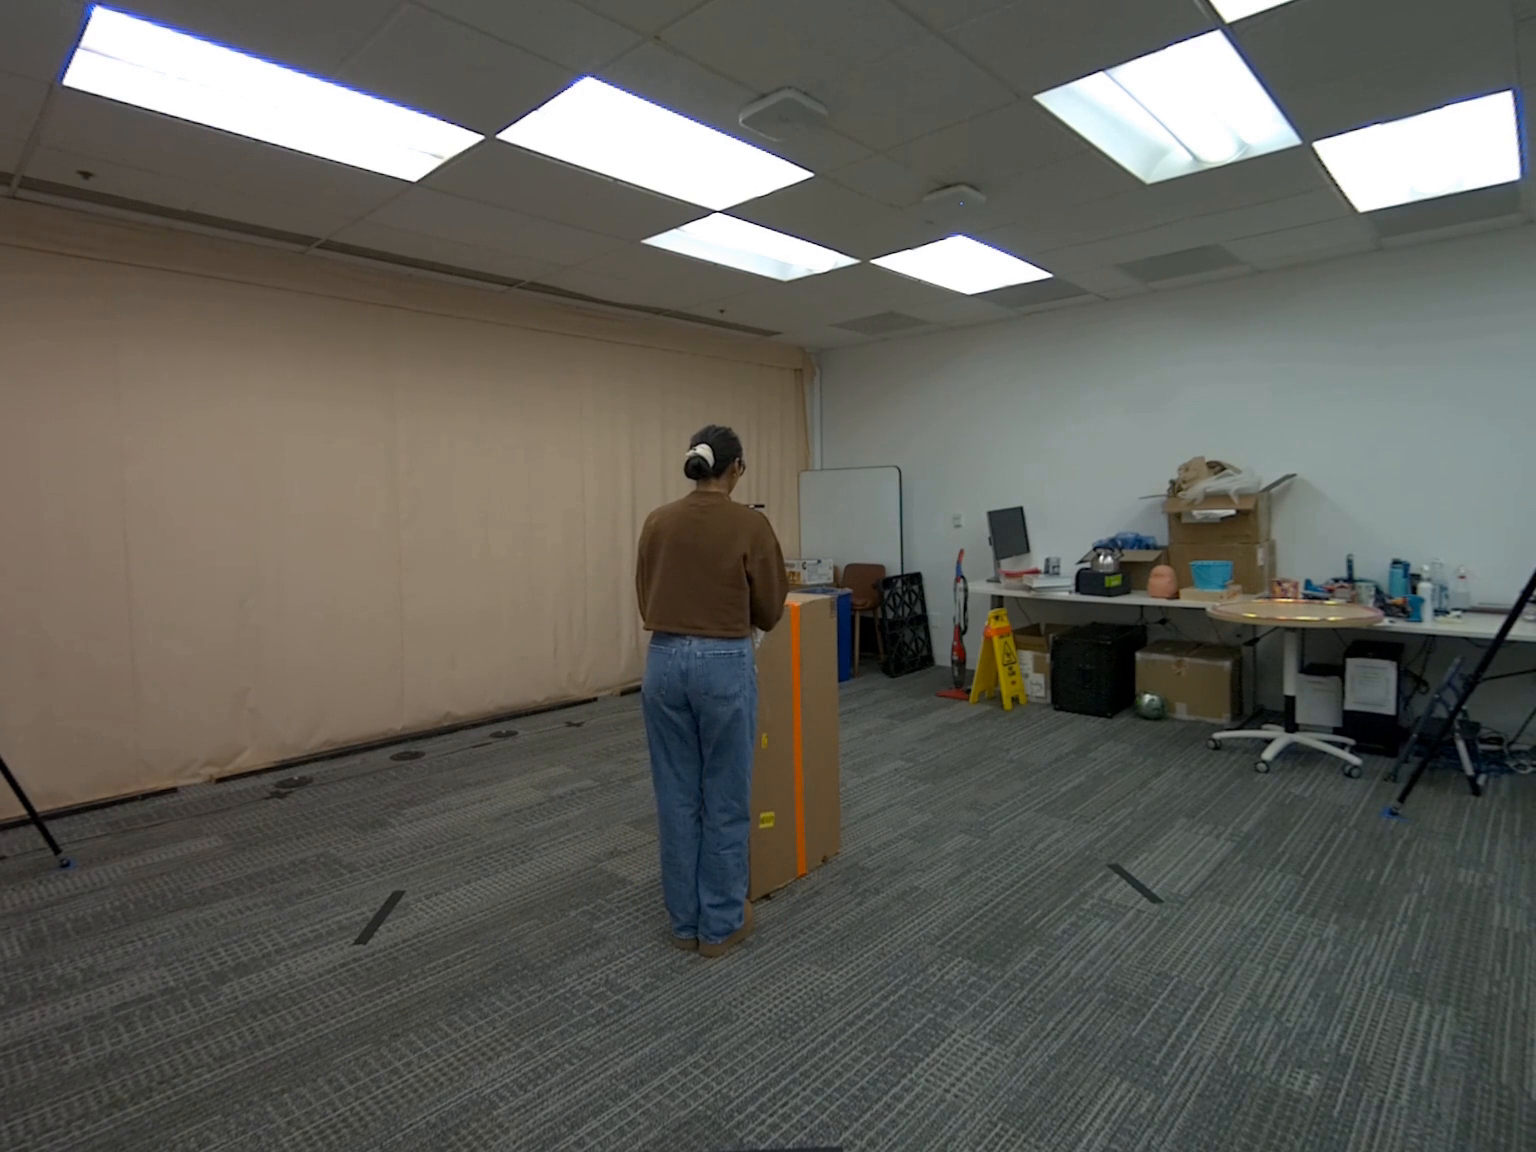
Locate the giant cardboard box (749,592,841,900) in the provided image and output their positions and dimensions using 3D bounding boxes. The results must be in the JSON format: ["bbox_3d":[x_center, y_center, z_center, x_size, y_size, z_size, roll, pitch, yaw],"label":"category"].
[{"bbox_3d":[-0.053,0.605,3.268,0.440,1.024,0.560,1,4,41],"label":"giant cardboard box"}]
